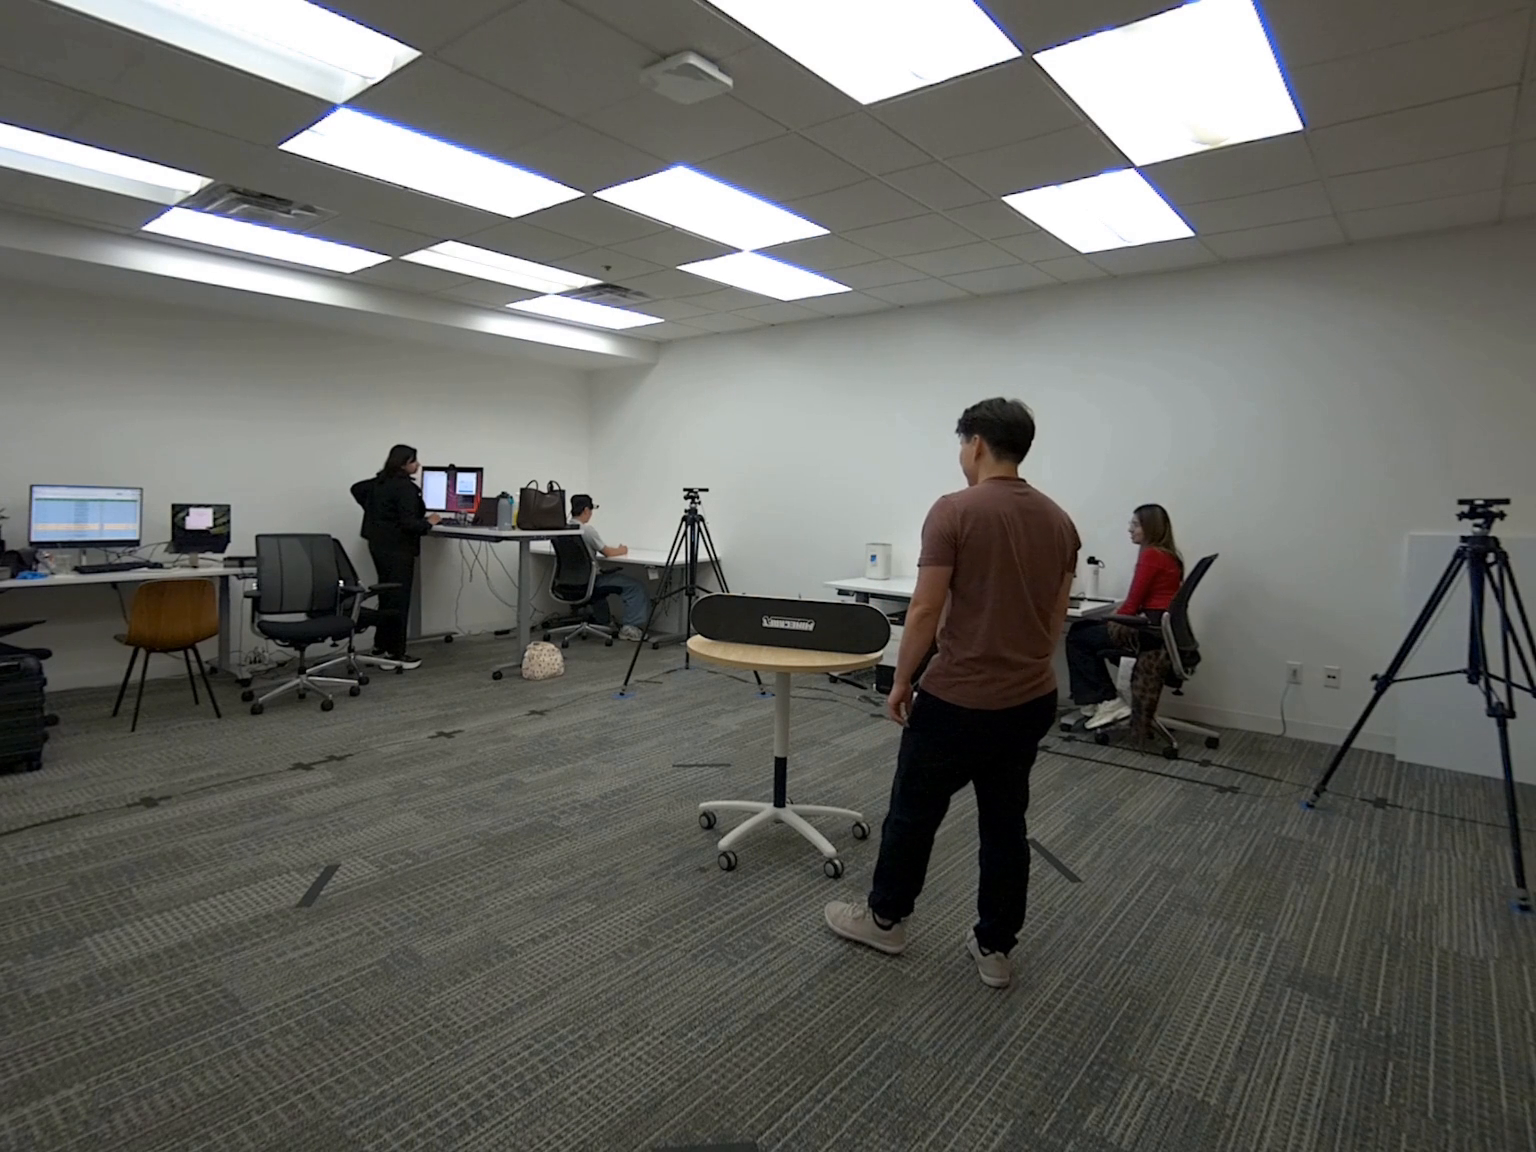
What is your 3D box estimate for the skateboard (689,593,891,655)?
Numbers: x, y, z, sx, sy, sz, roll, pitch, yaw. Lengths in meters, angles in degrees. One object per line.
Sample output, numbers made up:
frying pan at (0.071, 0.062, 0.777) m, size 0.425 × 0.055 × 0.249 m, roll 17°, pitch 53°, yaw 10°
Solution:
skateboard at (0.067, 0.177, 3.290) m, size 0.802 × 0.193 × 0.108 m, roll 4°, pitch 2°, yaw 20°
